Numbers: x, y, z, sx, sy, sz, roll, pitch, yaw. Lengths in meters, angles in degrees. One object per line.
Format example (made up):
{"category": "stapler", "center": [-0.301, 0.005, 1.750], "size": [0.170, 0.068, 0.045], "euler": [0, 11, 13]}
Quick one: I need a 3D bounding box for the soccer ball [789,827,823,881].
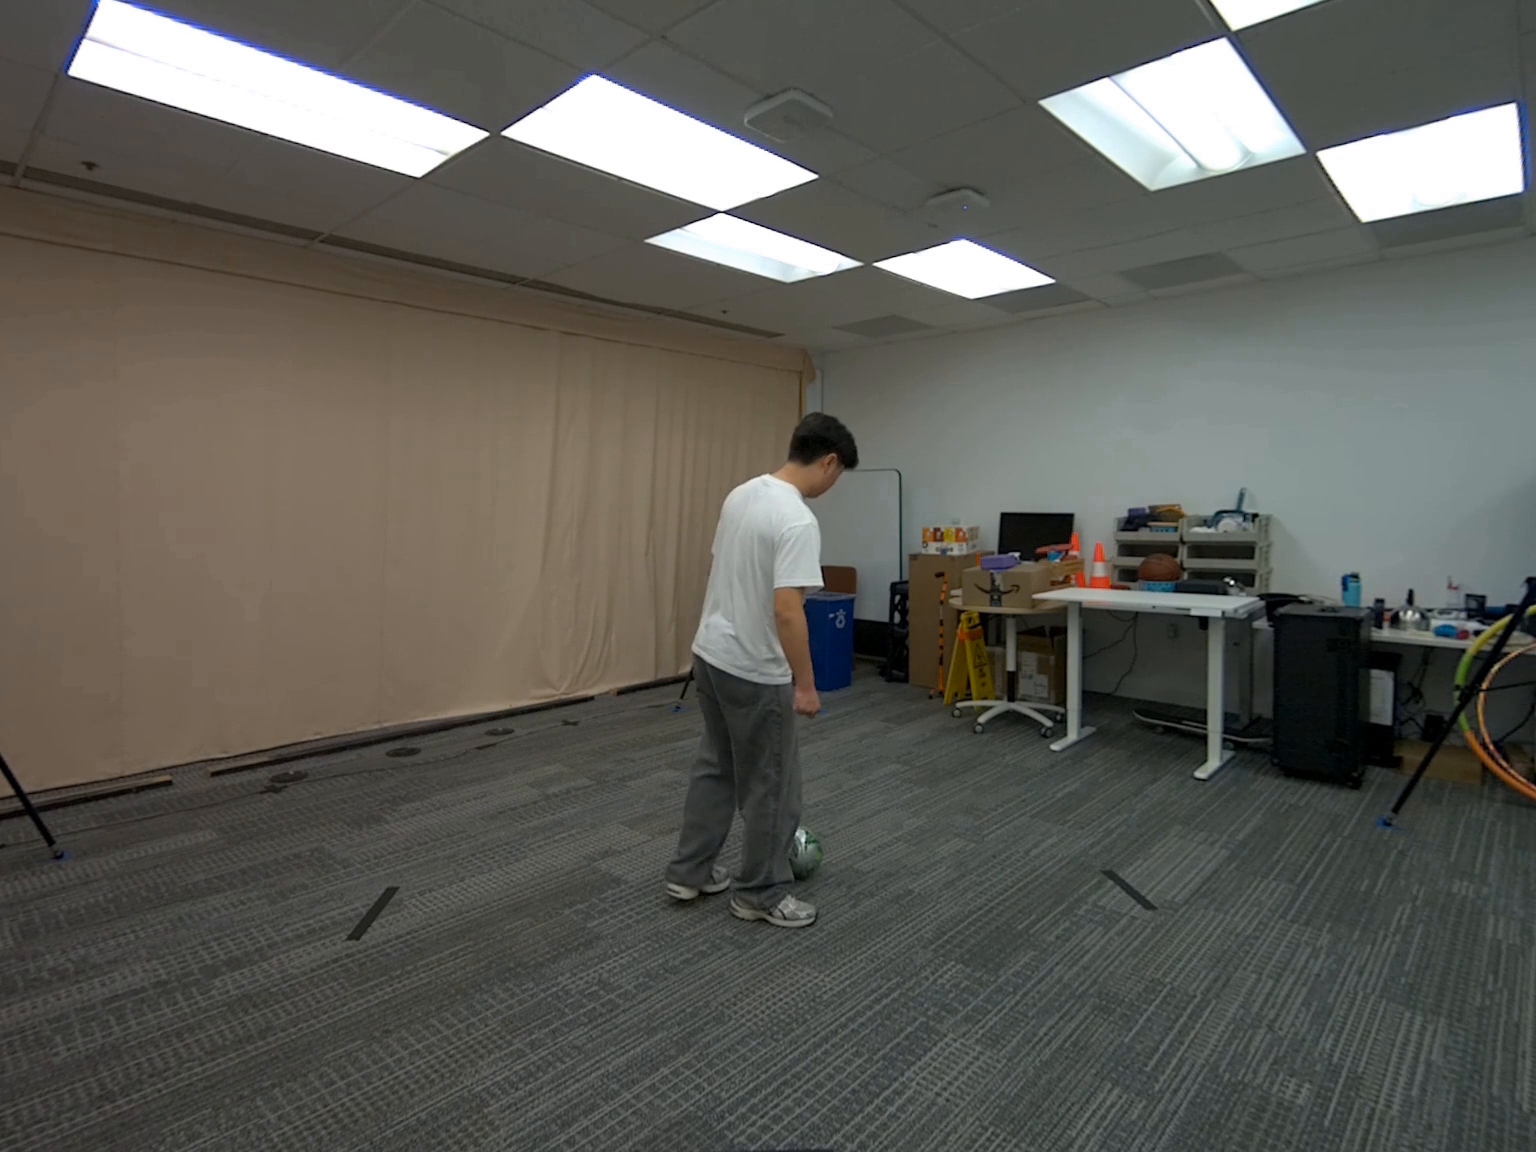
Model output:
{"category": "soccer ball", "center": [0.120, 1.036, 3.162], "size": [0.187, 0.187, 0.188], "euler": [0, 4, -2]}
